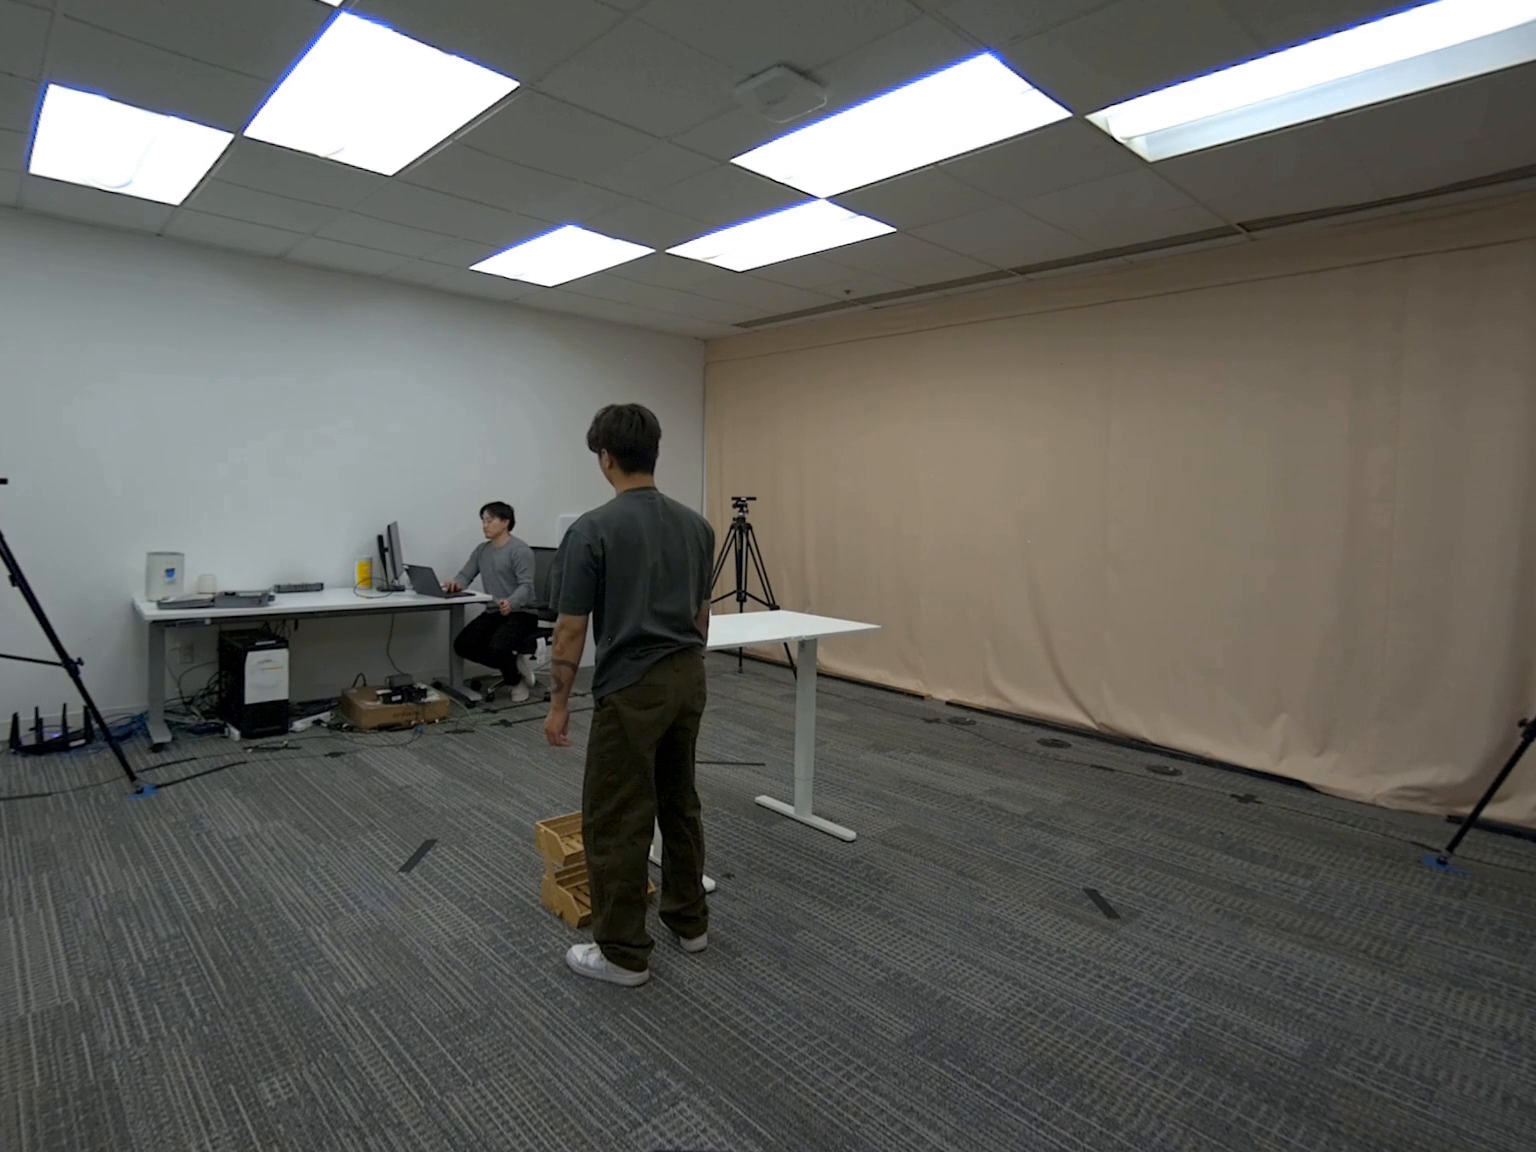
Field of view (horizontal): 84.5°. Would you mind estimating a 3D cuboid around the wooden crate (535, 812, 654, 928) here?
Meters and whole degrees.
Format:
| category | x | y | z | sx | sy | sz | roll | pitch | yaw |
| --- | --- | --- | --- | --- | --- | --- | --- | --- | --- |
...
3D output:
| category | x | y | z | sx | sy | sz | roll | pitch | yaw |
| --- | --- | --- | --- | --- | --- | --- | --- | --- | --- |
| wooden crate | -0.597 | 0.983 | 2.886 | 0.317 | 0.272 | 0.310 | -3 | 6 | -42 |
